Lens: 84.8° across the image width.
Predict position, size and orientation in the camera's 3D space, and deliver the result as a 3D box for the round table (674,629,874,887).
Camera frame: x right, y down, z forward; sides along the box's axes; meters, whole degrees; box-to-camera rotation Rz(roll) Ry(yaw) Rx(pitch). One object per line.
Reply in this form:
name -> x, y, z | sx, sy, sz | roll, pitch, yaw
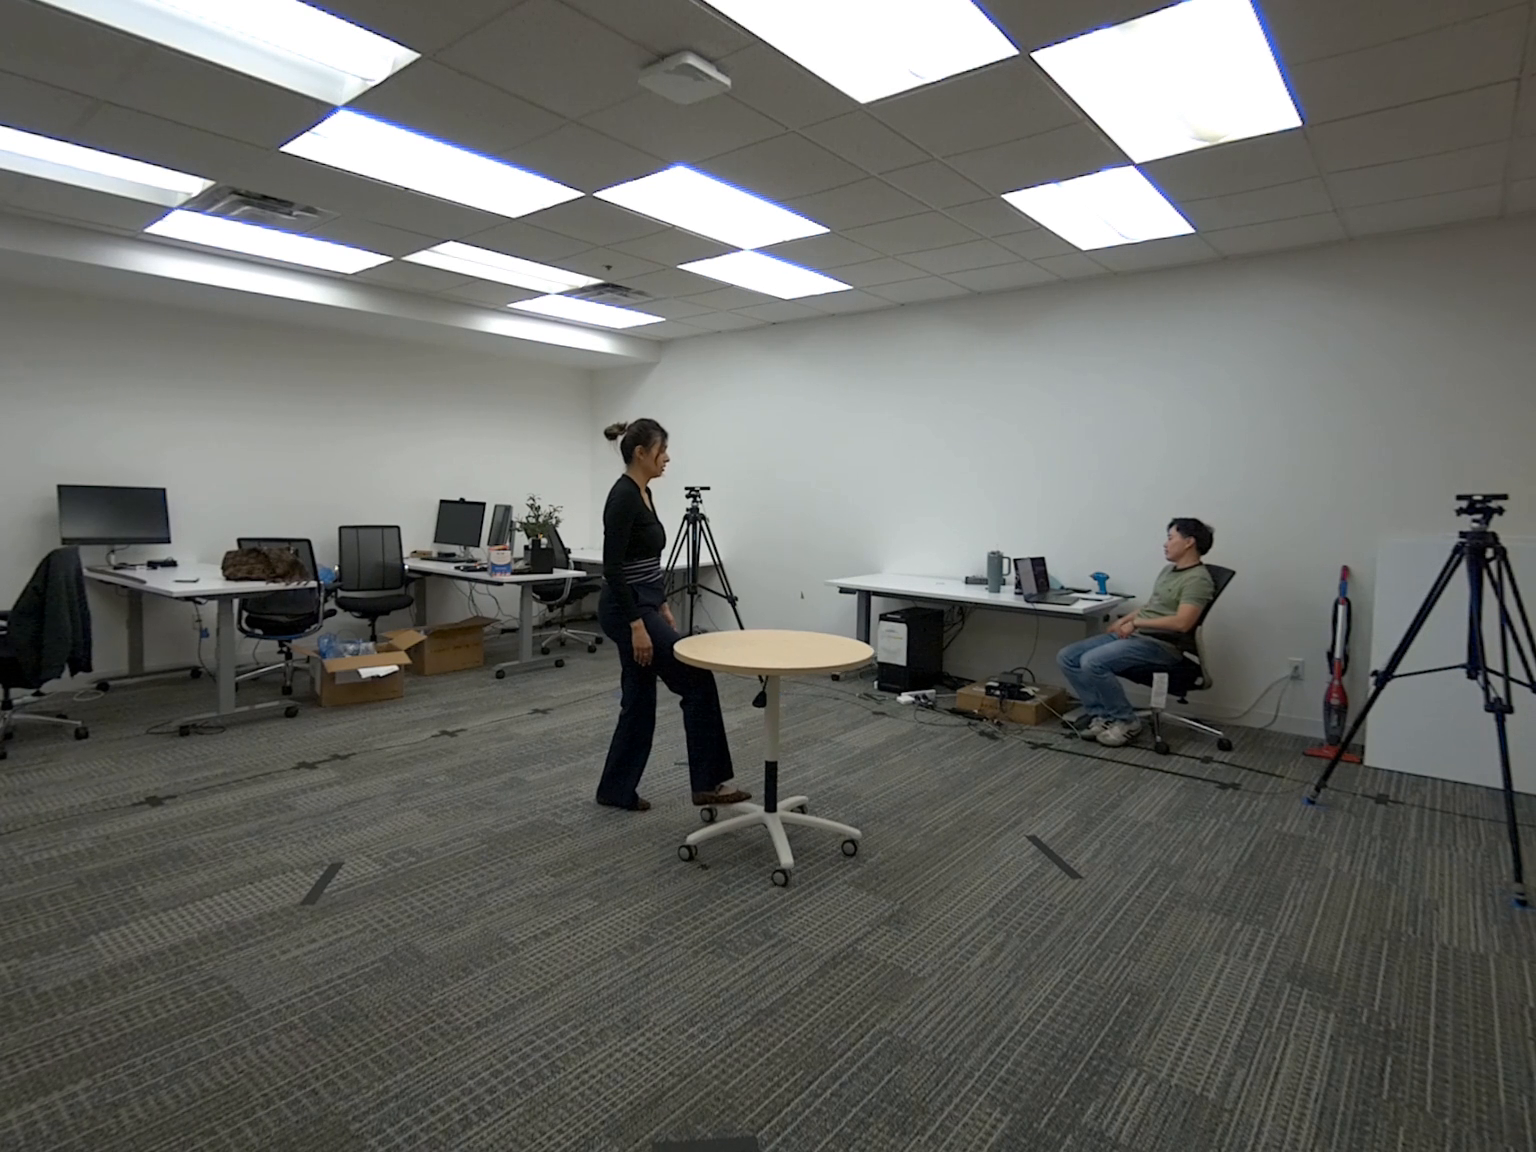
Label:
round table -> 0.007, 0.663, 3.289 | 0.763, 0.791, 0.768 | 1, 5, -2
